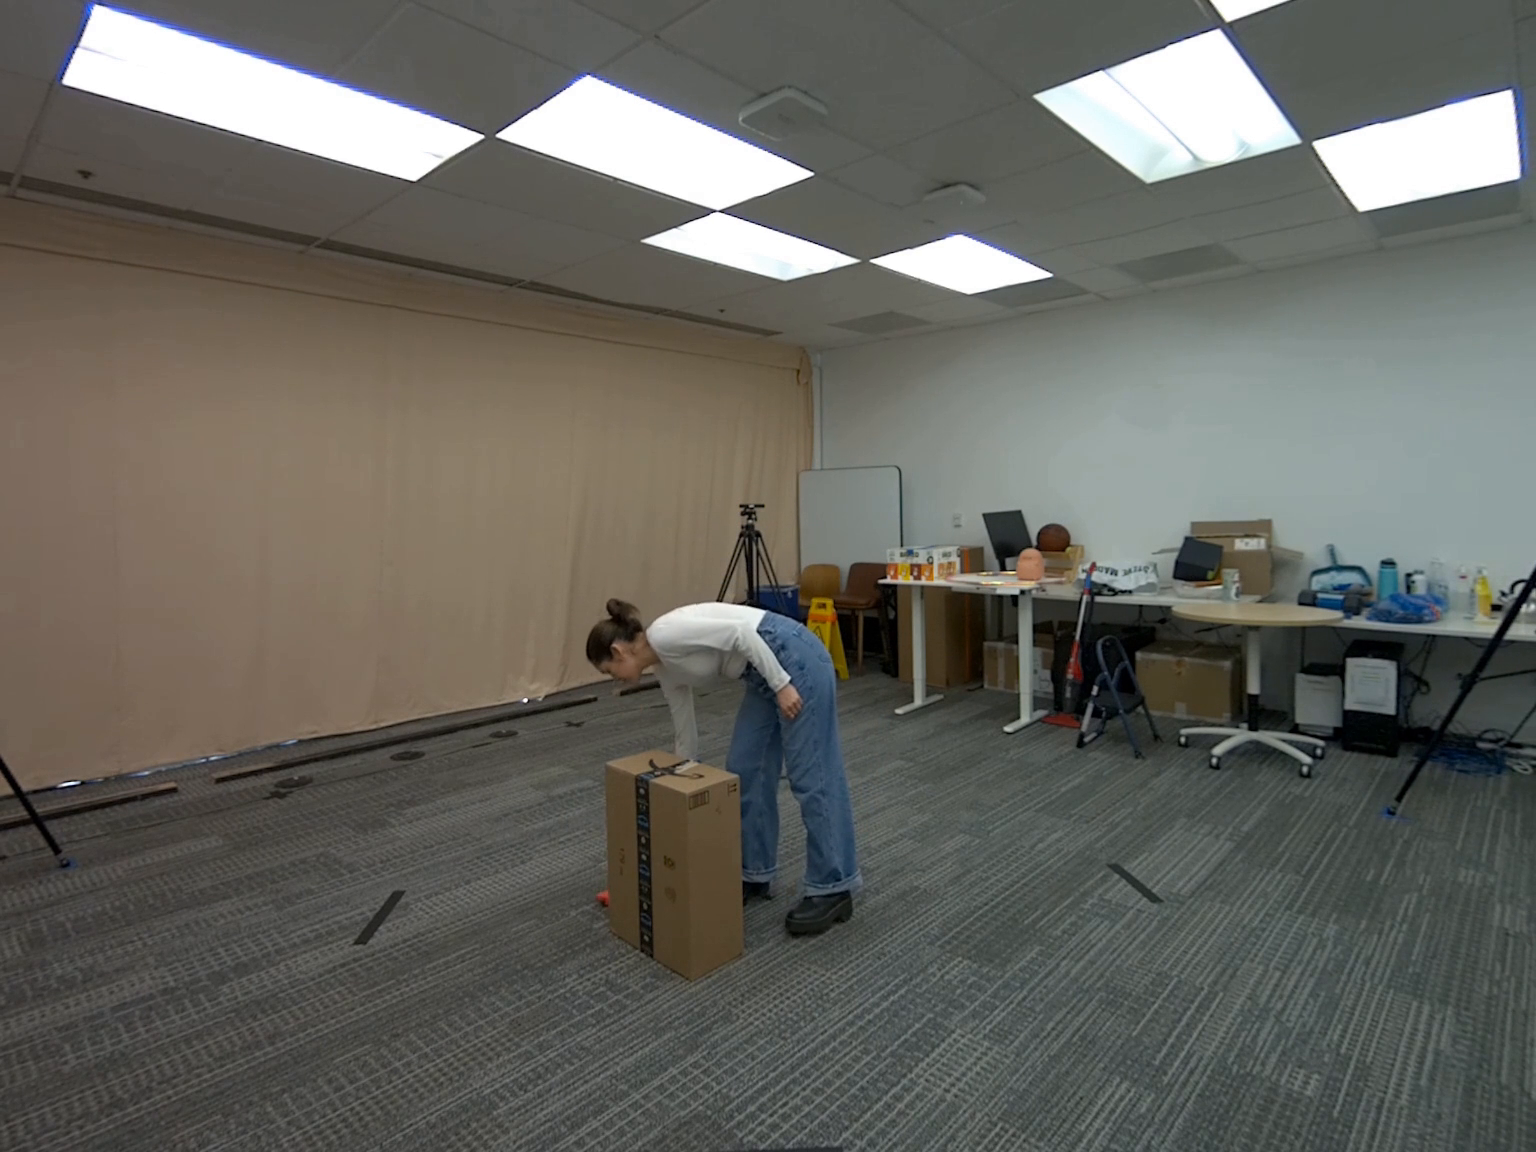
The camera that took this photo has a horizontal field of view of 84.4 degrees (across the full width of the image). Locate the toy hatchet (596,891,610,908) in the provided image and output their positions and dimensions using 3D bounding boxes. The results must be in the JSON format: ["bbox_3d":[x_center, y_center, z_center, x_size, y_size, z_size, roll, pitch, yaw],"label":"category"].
[{"bbox_3d":[-0.523,1.136,3.056,0.134,0.029,0.263,-4,0,24],"label":"toy hatchet"}]
